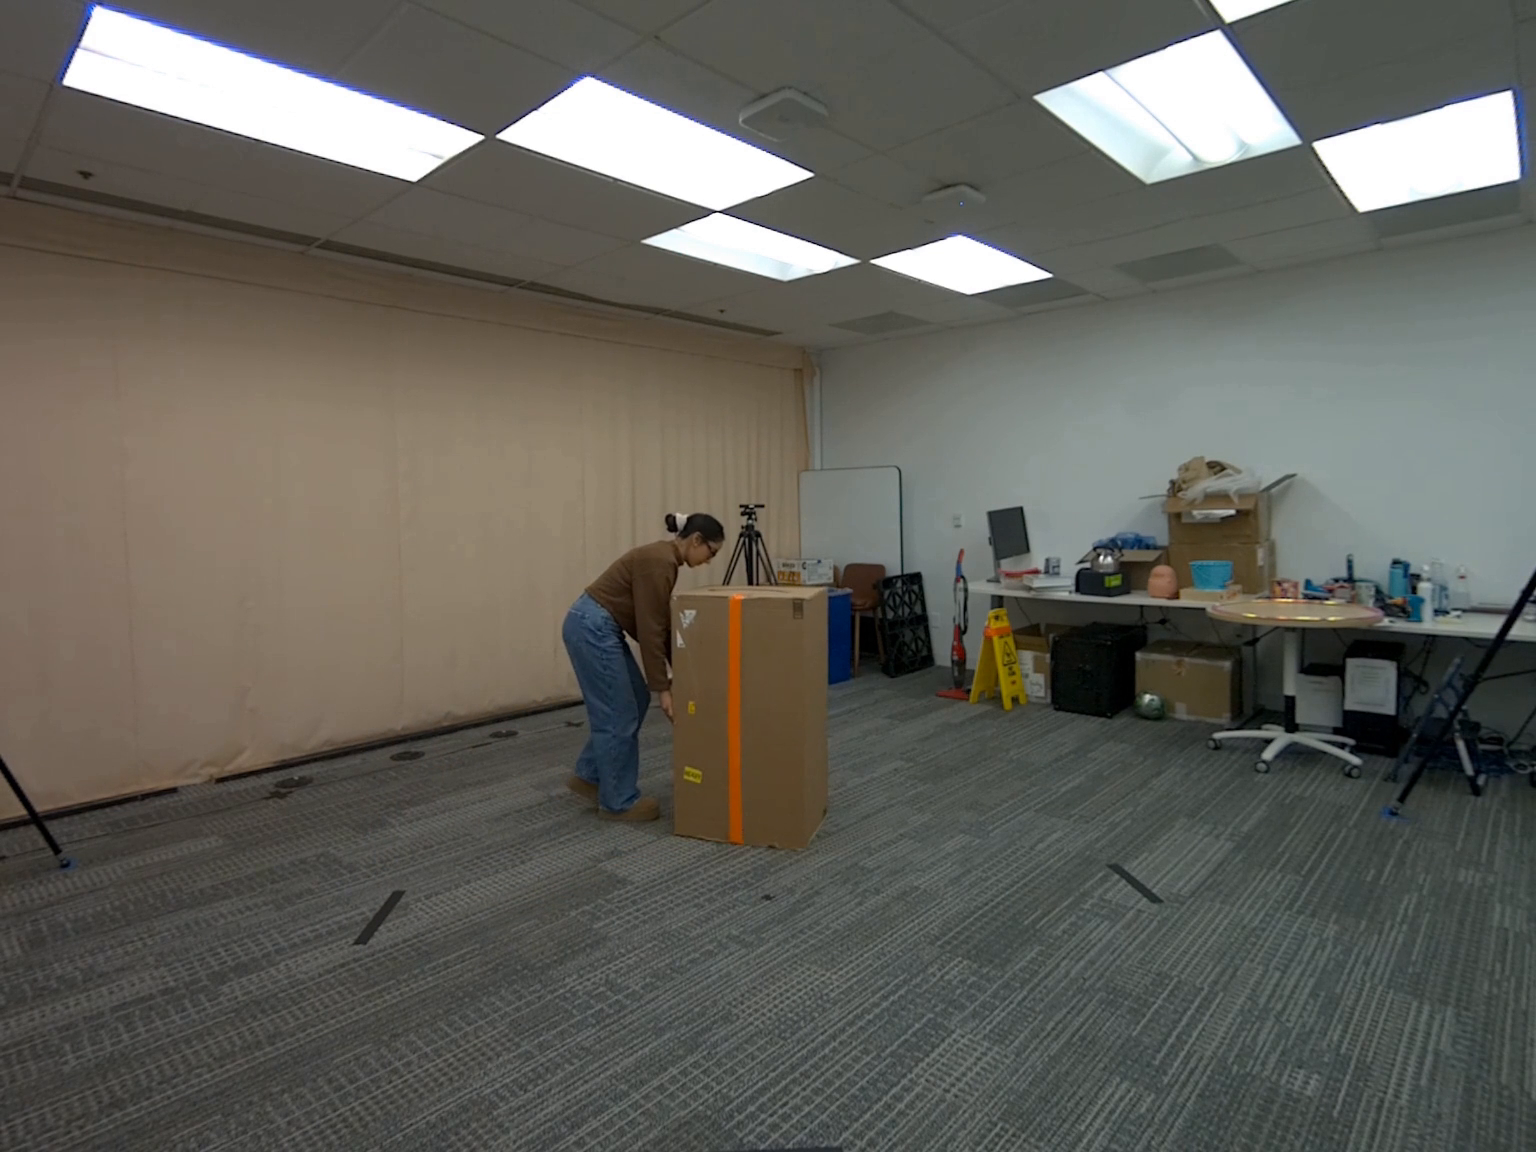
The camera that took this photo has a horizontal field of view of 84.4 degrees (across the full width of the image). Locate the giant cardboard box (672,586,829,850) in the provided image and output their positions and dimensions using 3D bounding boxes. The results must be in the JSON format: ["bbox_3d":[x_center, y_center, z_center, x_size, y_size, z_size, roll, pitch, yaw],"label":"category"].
[{"bbox_3d":[-0.067,0.576,3.630,0.589,1.023,0.418,1,4,19],"label":"giant cardboard box"}]
